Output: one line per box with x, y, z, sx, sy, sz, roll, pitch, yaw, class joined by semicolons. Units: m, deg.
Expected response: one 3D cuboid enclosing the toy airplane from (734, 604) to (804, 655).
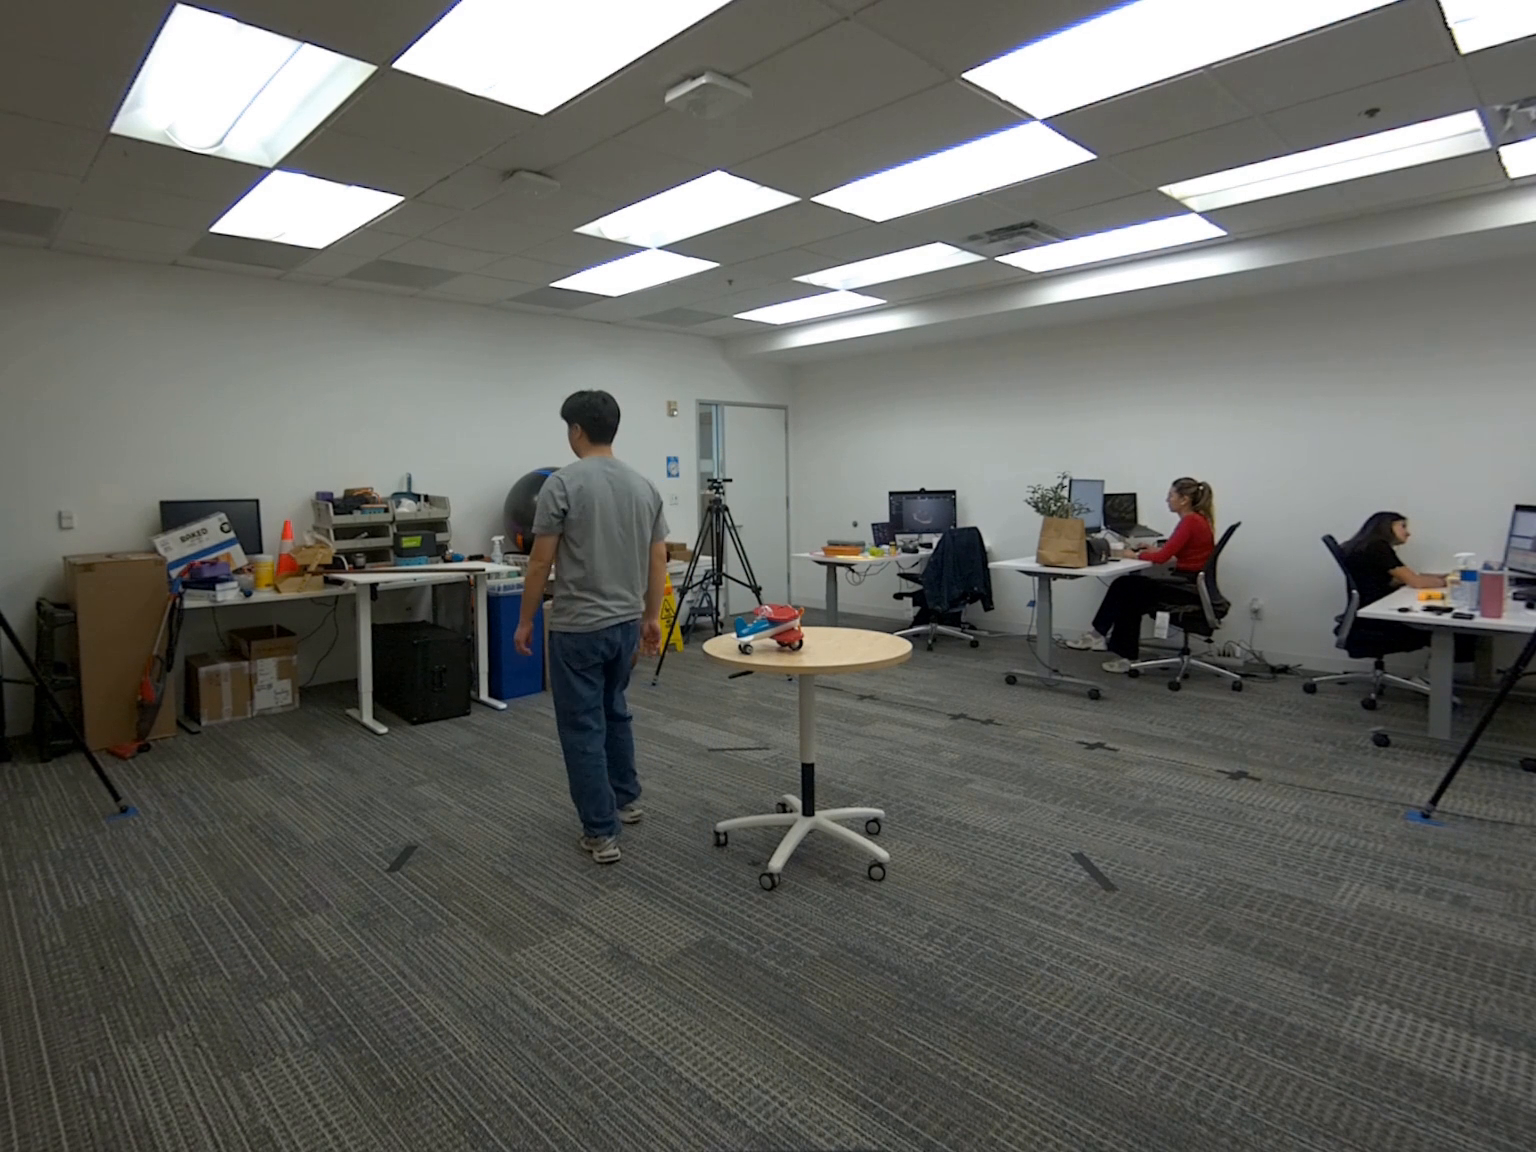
0.013;0.191;3.031;0.258;0.156;0.253;2;6;37;toy airplane
